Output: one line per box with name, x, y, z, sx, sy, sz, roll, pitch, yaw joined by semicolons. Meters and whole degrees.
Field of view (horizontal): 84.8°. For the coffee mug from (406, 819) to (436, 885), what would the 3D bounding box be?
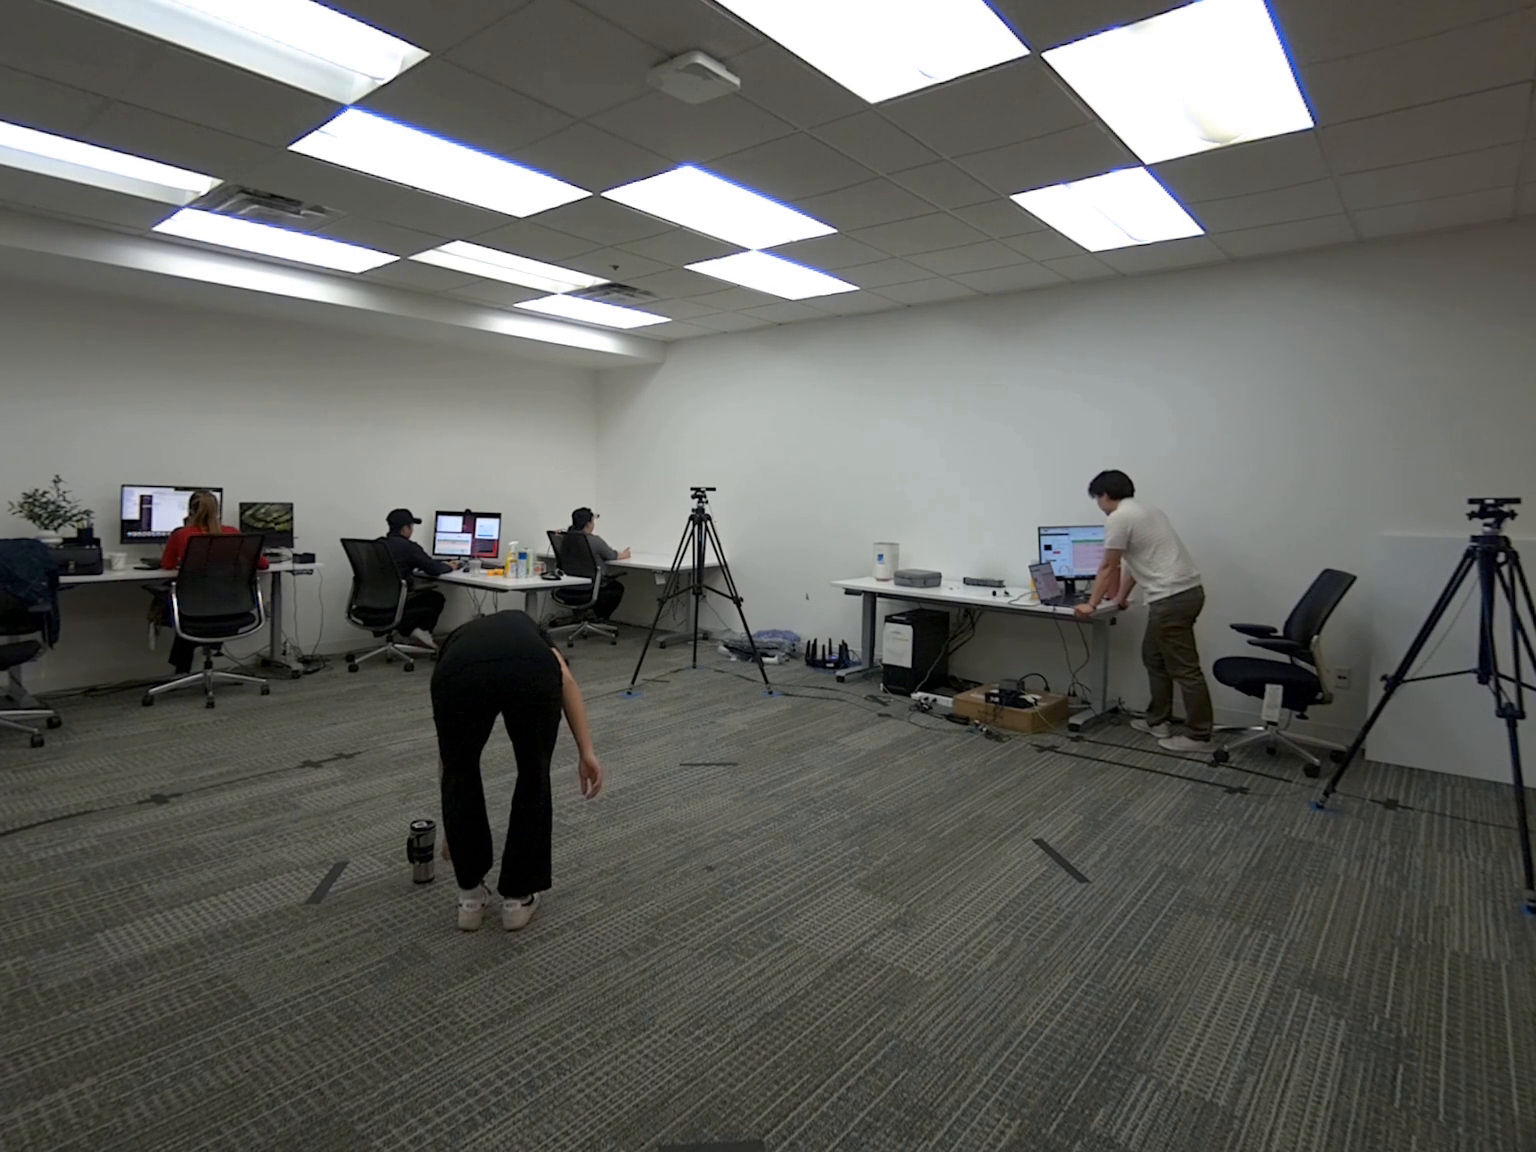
coffee mug;-1.233;0.966;2.957;0.091;0.202;0.118;7;5;39
